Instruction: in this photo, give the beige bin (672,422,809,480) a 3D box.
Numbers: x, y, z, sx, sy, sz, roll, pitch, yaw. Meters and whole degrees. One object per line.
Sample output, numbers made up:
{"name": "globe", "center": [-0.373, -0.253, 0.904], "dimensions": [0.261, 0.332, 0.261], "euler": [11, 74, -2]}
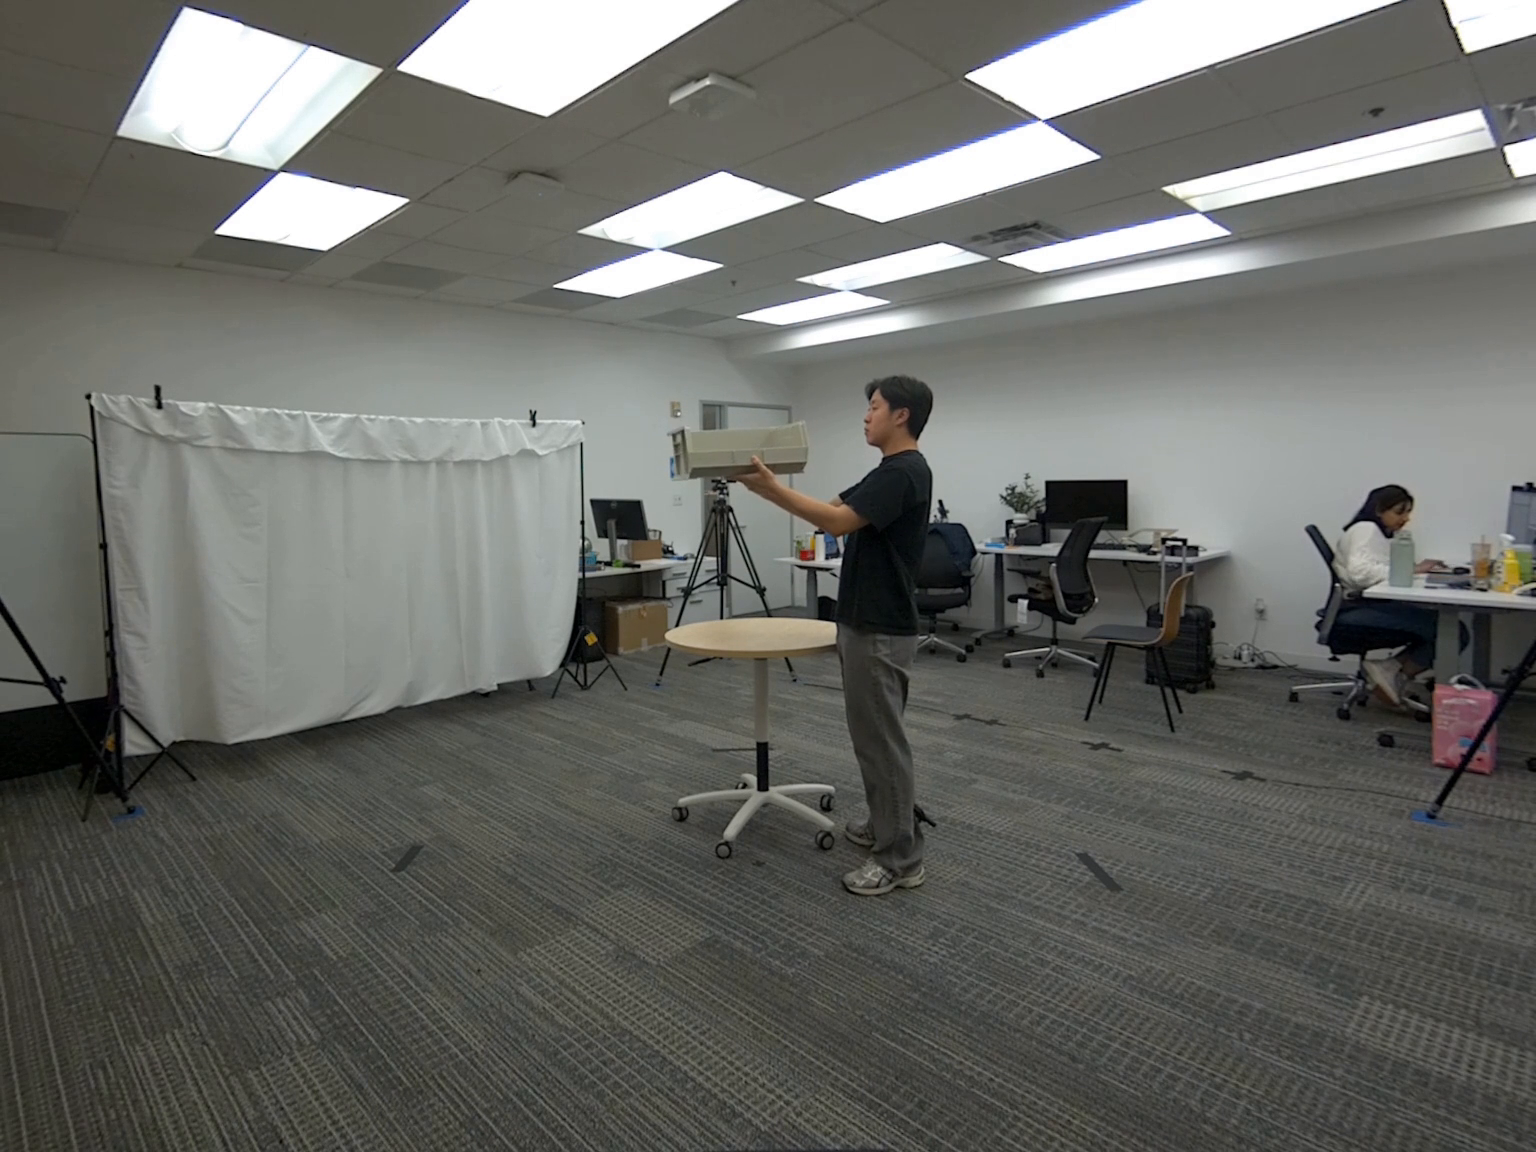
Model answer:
{"name": "beige bin", "center": [-0.109, -0.443, 3.010], "dimensions": [0.418, 0.188, 0.383], "euler": [-5, 5, -13]}
